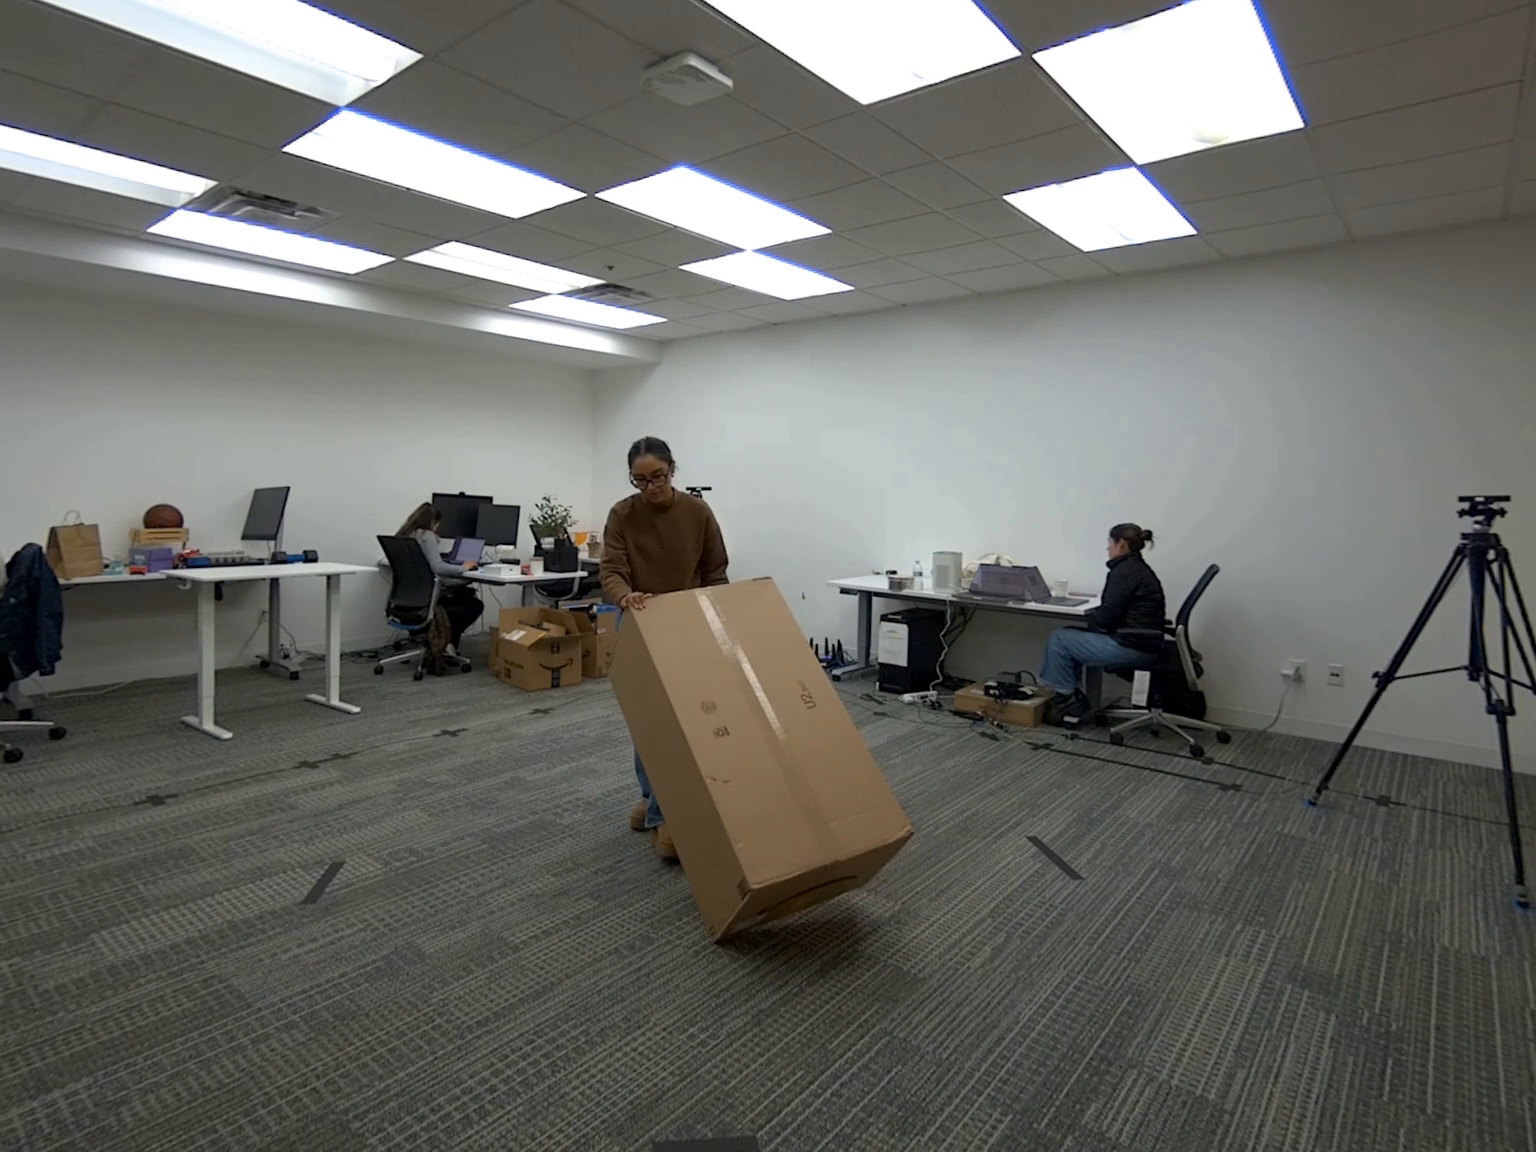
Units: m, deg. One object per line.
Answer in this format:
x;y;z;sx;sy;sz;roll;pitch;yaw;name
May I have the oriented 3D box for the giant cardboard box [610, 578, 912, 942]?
-0.088;0.563;2.857;0.571;1.065;0.441;-9;-37;-29;giant cardboard box
